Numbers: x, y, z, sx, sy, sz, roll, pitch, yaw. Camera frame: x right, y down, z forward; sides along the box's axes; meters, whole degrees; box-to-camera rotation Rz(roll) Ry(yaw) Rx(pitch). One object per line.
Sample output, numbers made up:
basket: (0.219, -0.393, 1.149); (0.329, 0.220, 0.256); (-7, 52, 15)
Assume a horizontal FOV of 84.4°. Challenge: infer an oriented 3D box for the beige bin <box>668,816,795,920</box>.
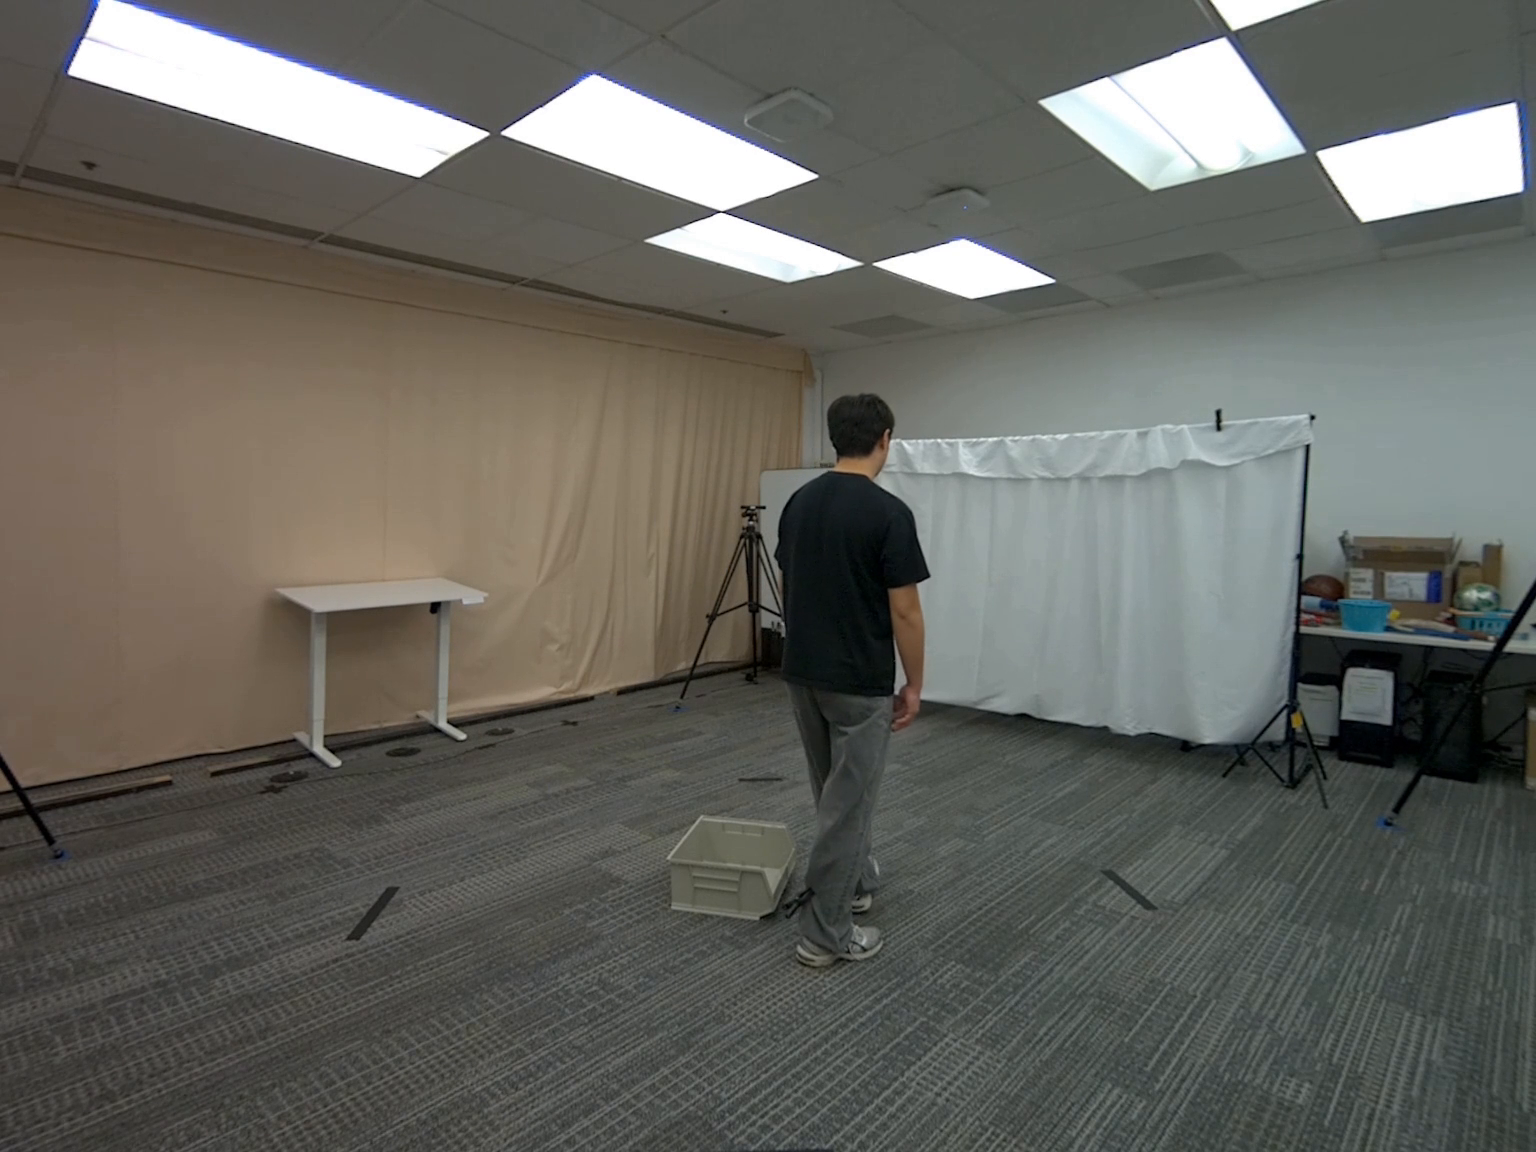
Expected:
beige bin: (-0.119, 1.049, 3.054); (0.383, 0.188, 0.417); (0, 5, 14)
